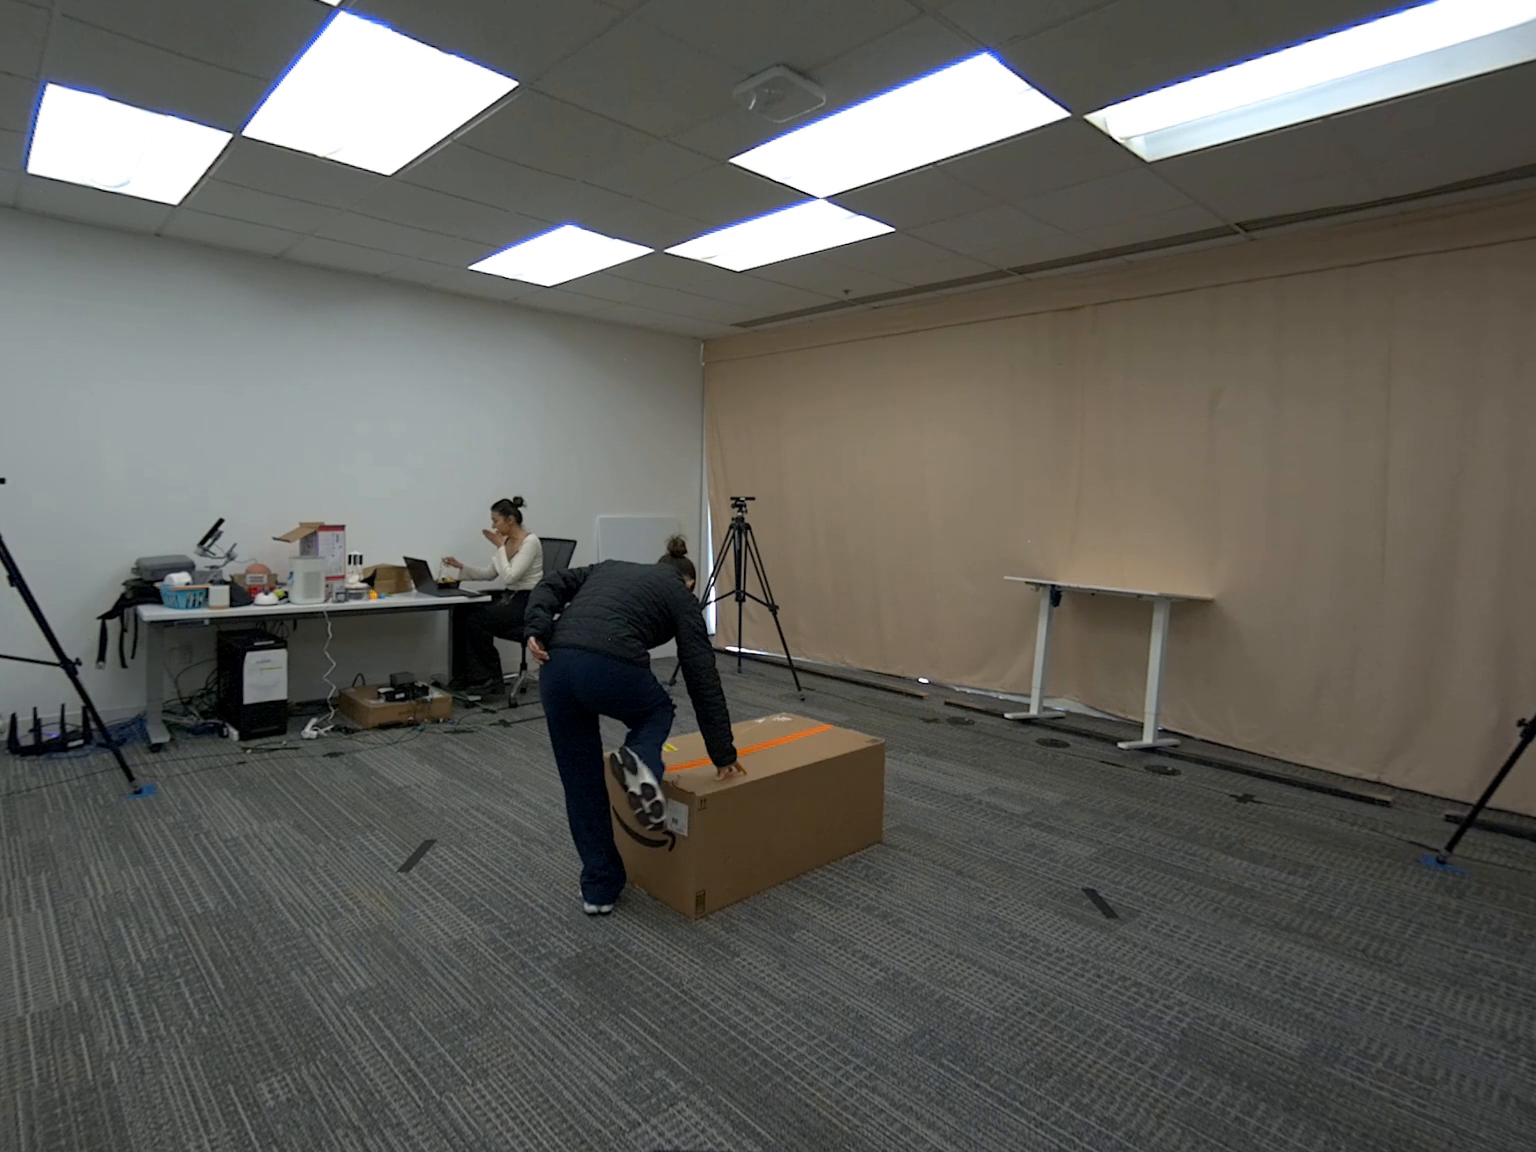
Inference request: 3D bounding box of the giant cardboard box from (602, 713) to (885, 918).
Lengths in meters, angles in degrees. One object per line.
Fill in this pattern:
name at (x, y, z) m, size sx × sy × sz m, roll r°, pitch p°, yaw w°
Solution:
giant cardboard box at (-0.089, 0.884, 3.295) m, size 1.003 × 0.445 × 0.599 m, roll -3°, pitch 7°, yaw -45°
